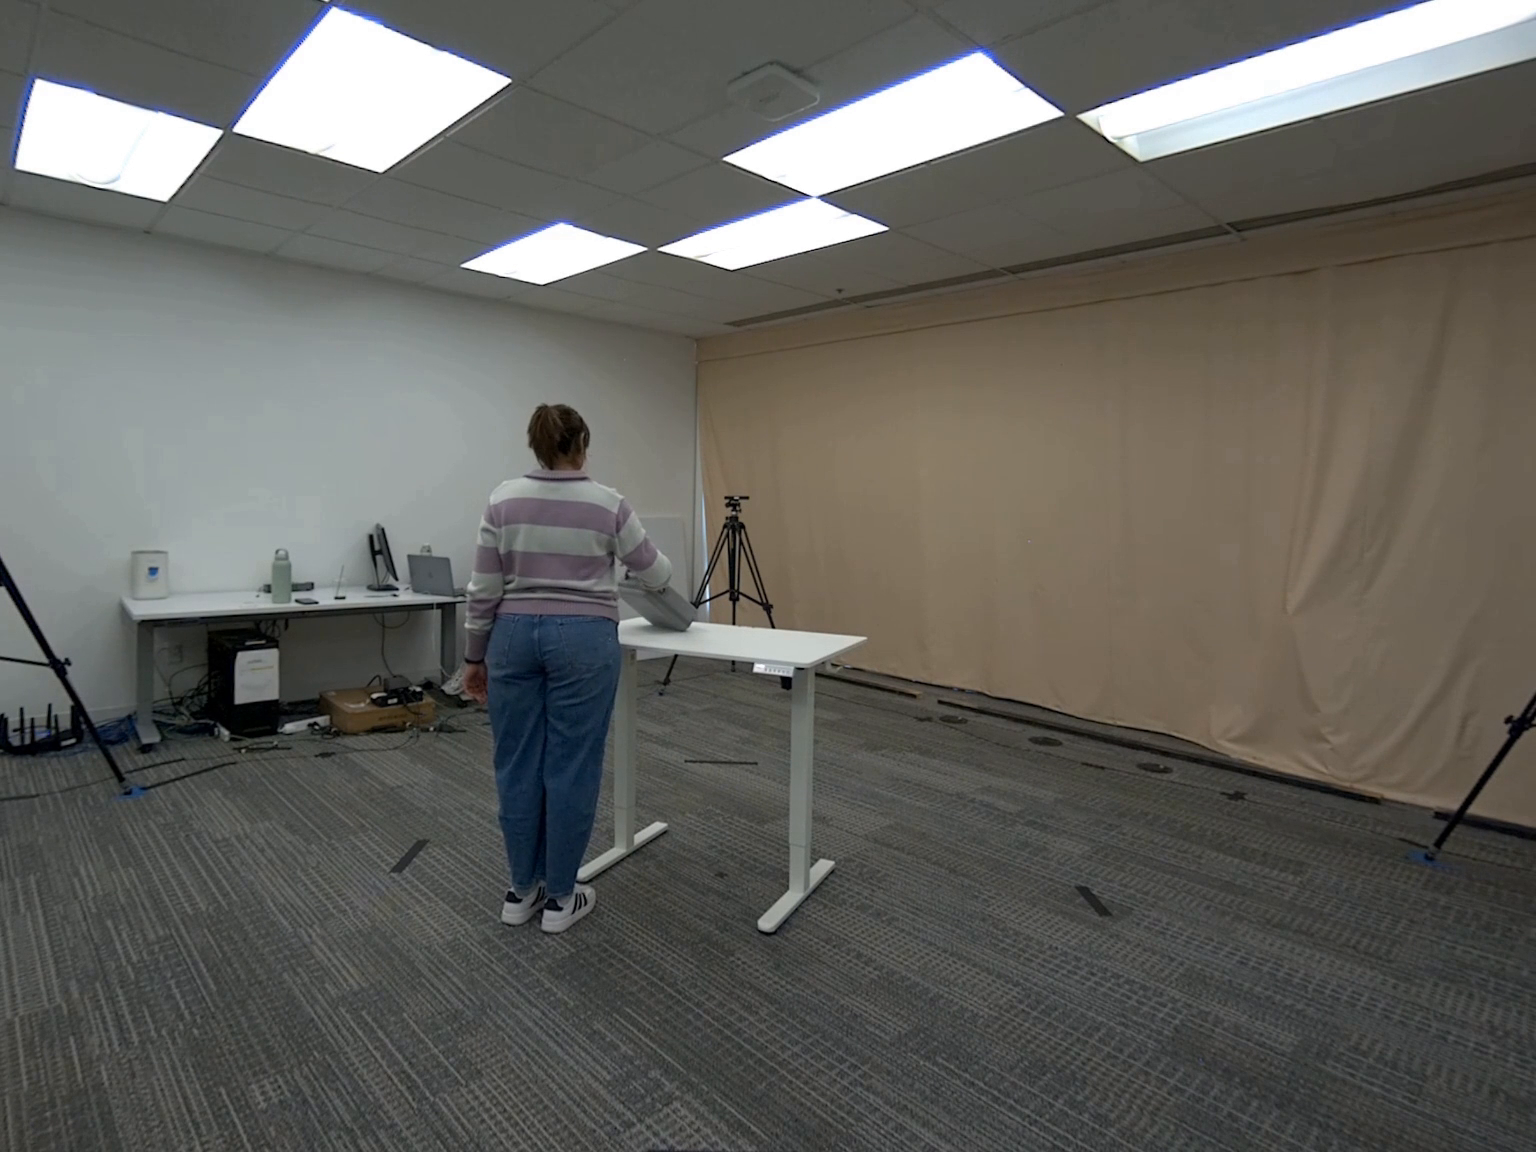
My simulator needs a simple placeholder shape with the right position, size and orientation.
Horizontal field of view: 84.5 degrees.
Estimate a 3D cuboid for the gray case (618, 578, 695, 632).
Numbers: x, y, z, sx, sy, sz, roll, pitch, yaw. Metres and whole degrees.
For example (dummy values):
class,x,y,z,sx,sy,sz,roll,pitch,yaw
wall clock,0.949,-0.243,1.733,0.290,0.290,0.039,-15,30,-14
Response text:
class,x,y,z,sx,sy,sz,roll,pitch,yaw
gray case,-0.438,0.095,3.226,0.253,0.104,0.263,46,-22,-30
